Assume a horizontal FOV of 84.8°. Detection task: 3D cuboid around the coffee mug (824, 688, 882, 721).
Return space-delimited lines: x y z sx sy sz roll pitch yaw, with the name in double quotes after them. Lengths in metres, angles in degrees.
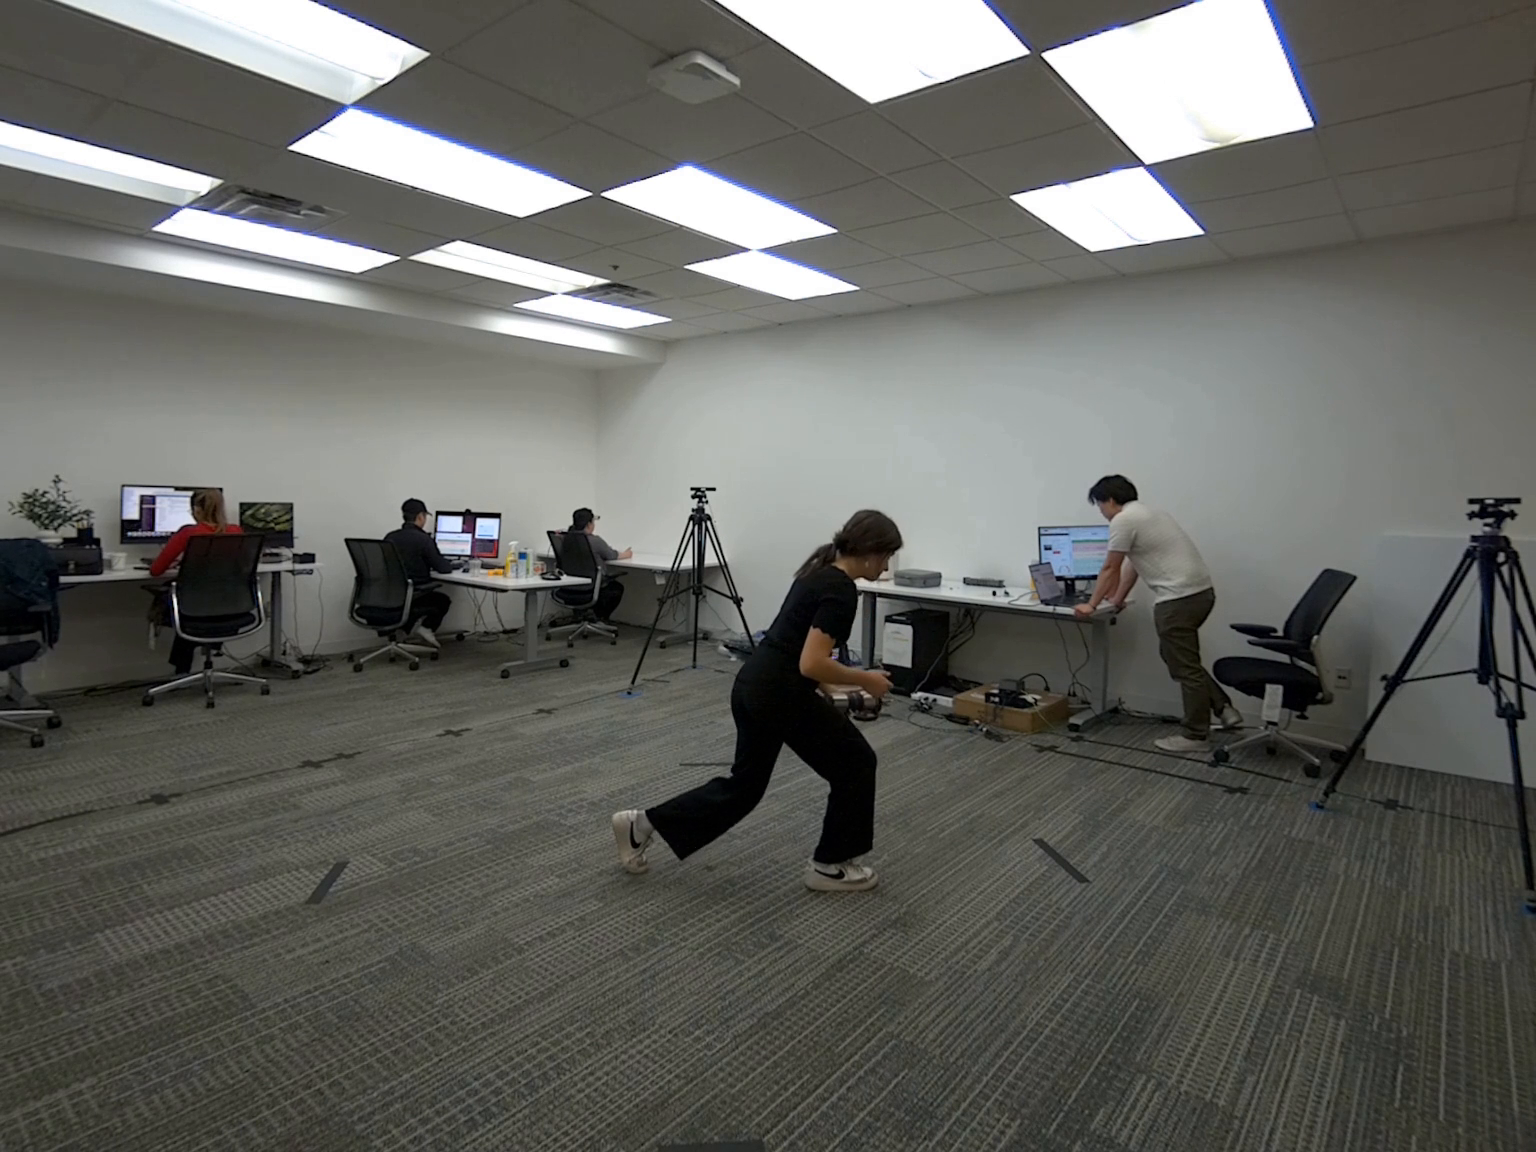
0.312 0.482 3.122 0.198 0.126 0.087 0 -39 -22 "coffee mug"
